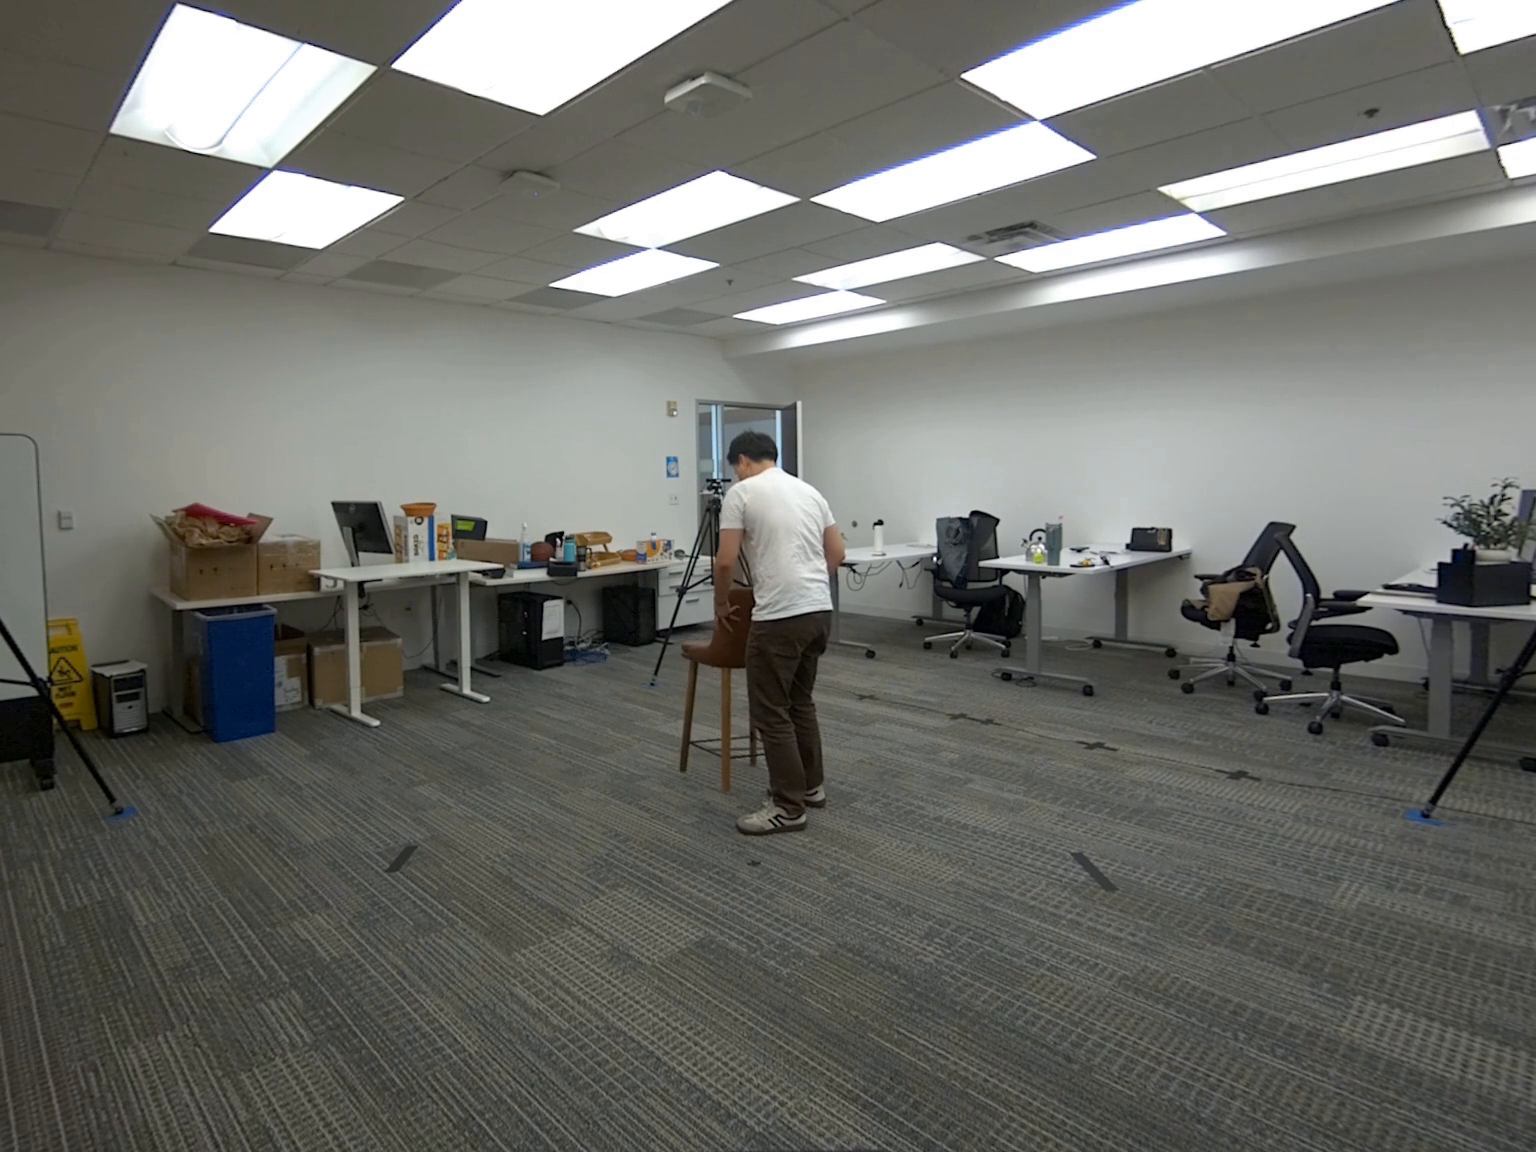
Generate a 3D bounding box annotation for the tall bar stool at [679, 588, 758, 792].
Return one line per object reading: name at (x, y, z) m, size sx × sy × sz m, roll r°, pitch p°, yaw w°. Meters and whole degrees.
tall bar stool at (-0.129, 0.492, 3.931) m, size 0.445 × 0.889 × 0.479 m, roll 1°, pitch 1°, yaw -28°
